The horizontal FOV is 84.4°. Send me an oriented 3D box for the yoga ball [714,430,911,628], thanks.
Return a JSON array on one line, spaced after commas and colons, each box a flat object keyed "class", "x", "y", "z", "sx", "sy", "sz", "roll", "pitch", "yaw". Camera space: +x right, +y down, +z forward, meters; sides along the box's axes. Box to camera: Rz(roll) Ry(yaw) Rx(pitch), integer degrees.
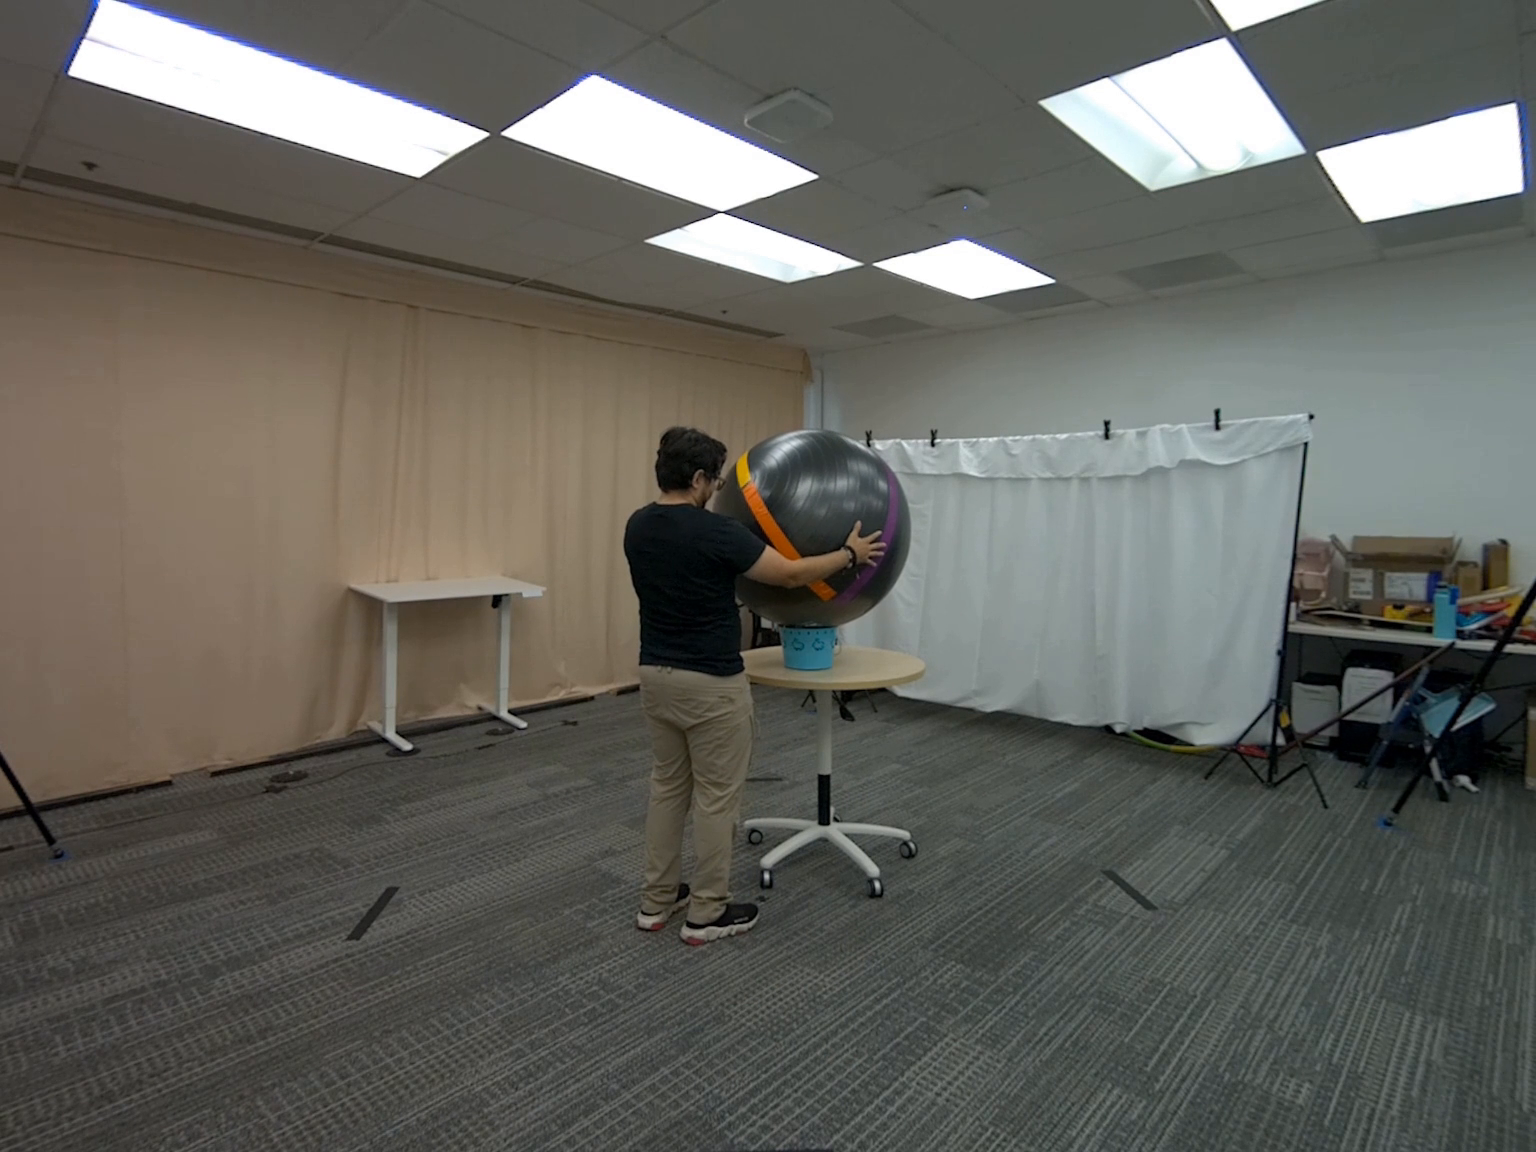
[{"class": "yoga ball", "x": 0.161, "y": -0.172, "z": 3.204, "sx": 0.757, "sy": 0.756, "sz": 0.760, "roll": 0, "pitch": 4, "yaw": -2}]
